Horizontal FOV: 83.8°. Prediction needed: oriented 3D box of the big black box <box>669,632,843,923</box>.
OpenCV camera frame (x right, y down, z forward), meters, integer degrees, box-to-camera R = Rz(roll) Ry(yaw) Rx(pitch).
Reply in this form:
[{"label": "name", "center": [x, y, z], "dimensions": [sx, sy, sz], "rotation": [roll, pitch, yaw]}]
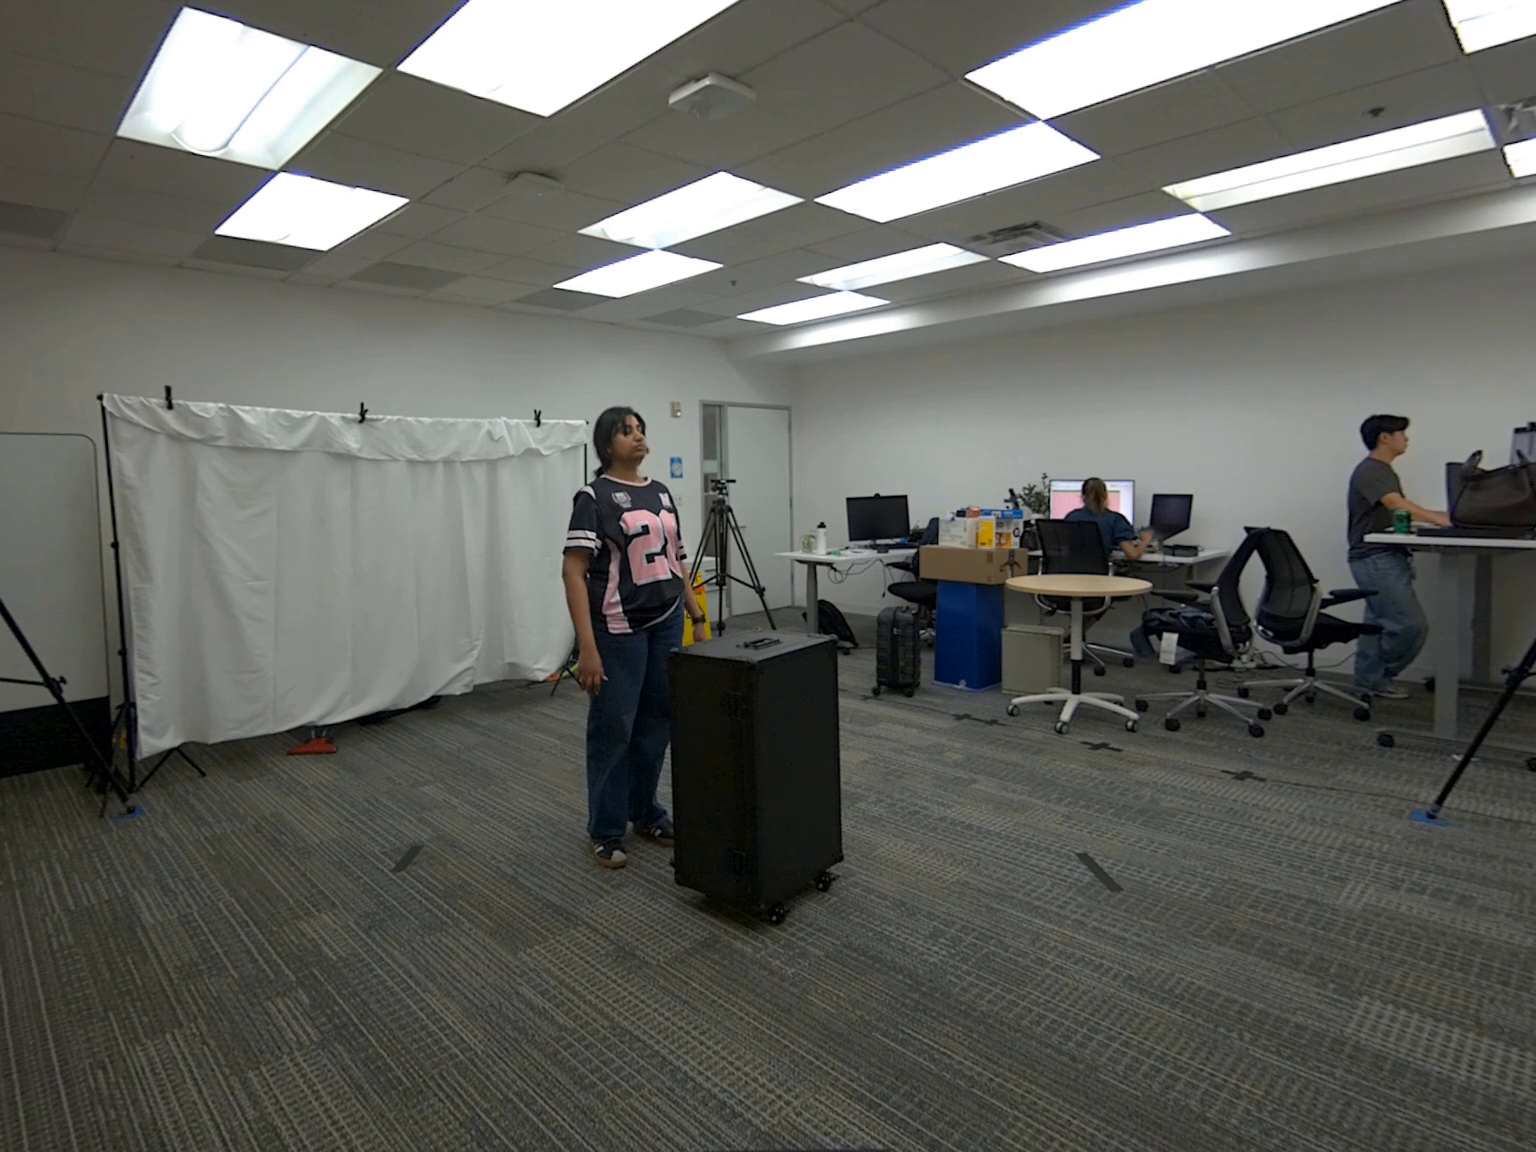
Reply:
[{"label": "big black box", "center": [-0.039, 0.655, 2.864], "dimensions": [0.396, 0.866, 0.510], "rotation": [1, 4, 37]}]
